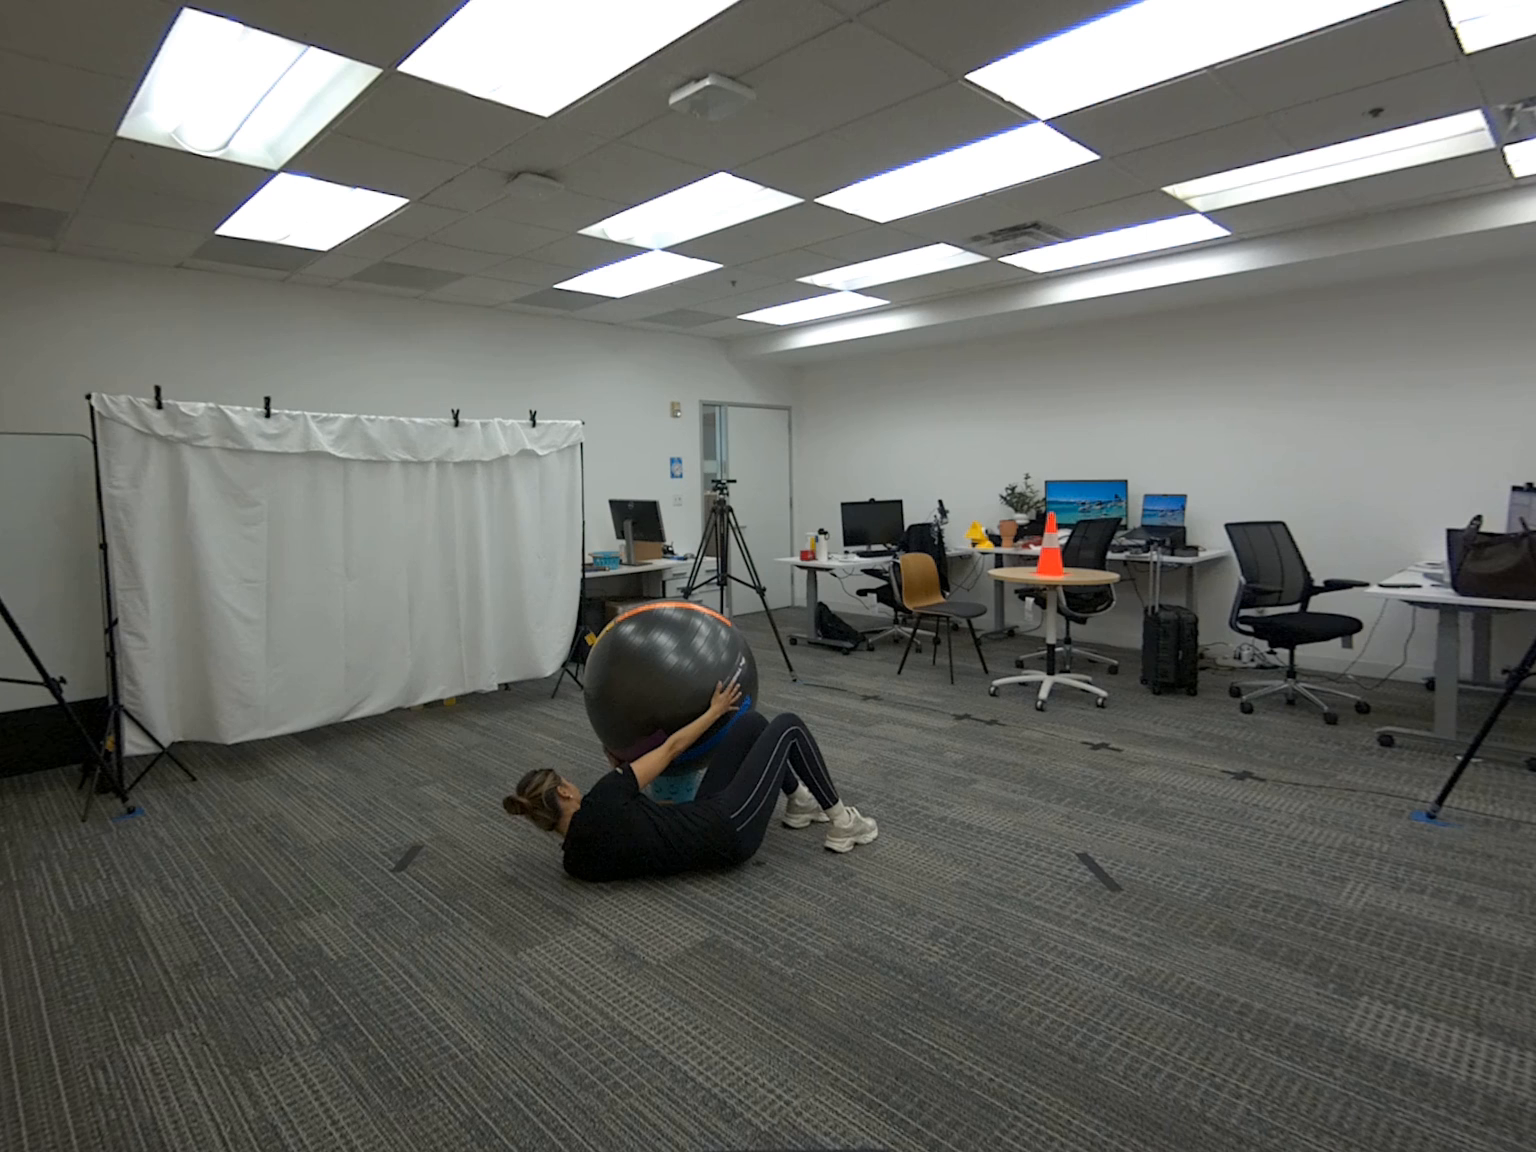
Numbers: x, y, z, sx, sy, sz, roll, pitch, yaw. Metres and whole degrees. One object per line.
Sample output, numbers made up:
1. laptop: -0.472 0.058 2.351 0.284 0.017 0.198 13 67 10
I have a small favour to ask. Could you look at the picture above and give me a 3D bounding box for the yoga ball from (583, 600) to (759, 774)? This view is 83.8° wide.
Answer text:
1. yoga ball: -0.428 0.483 3.711 0.757 0.757 0.759 0 1 -2
